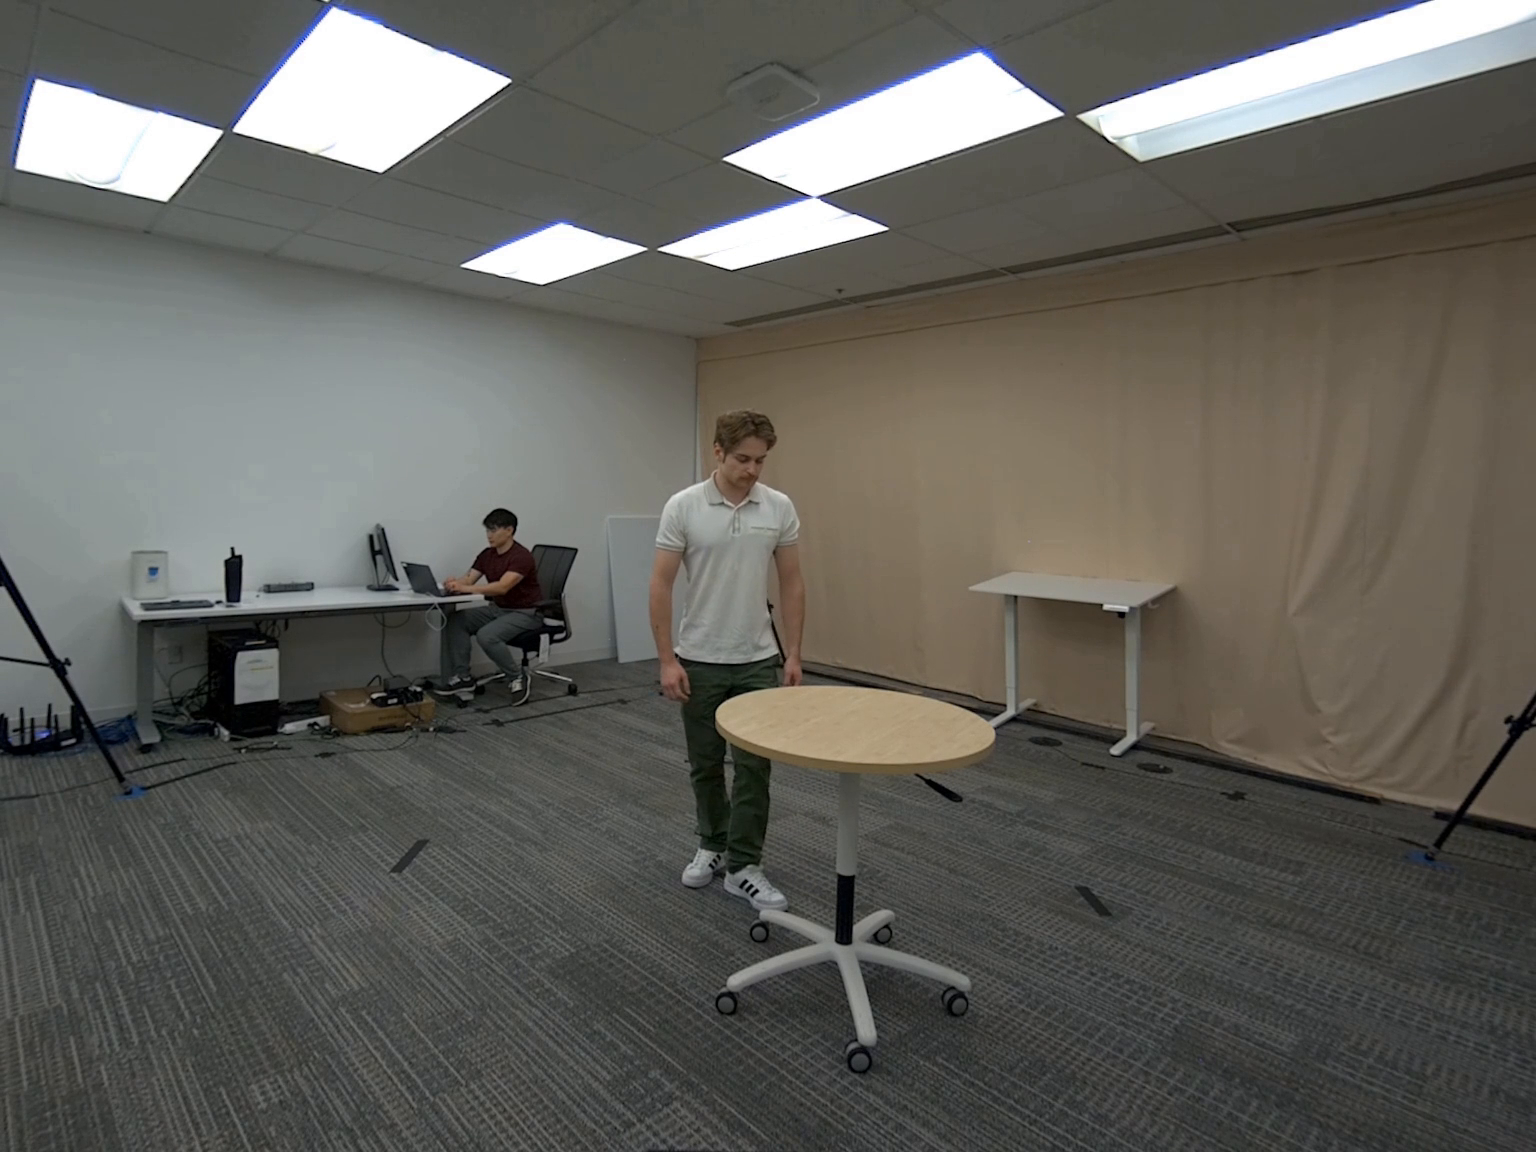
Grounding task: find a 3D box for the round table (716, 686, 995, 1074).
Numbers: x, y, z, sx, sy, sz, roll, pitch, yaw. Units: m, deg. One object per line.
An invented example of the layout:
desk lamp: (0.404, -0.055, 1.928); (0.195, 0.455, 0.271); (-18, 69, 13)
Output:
round table: (0.219, 0.793, 2.376); (0.763, 0.791, 0.767); (2, 5, -2)
